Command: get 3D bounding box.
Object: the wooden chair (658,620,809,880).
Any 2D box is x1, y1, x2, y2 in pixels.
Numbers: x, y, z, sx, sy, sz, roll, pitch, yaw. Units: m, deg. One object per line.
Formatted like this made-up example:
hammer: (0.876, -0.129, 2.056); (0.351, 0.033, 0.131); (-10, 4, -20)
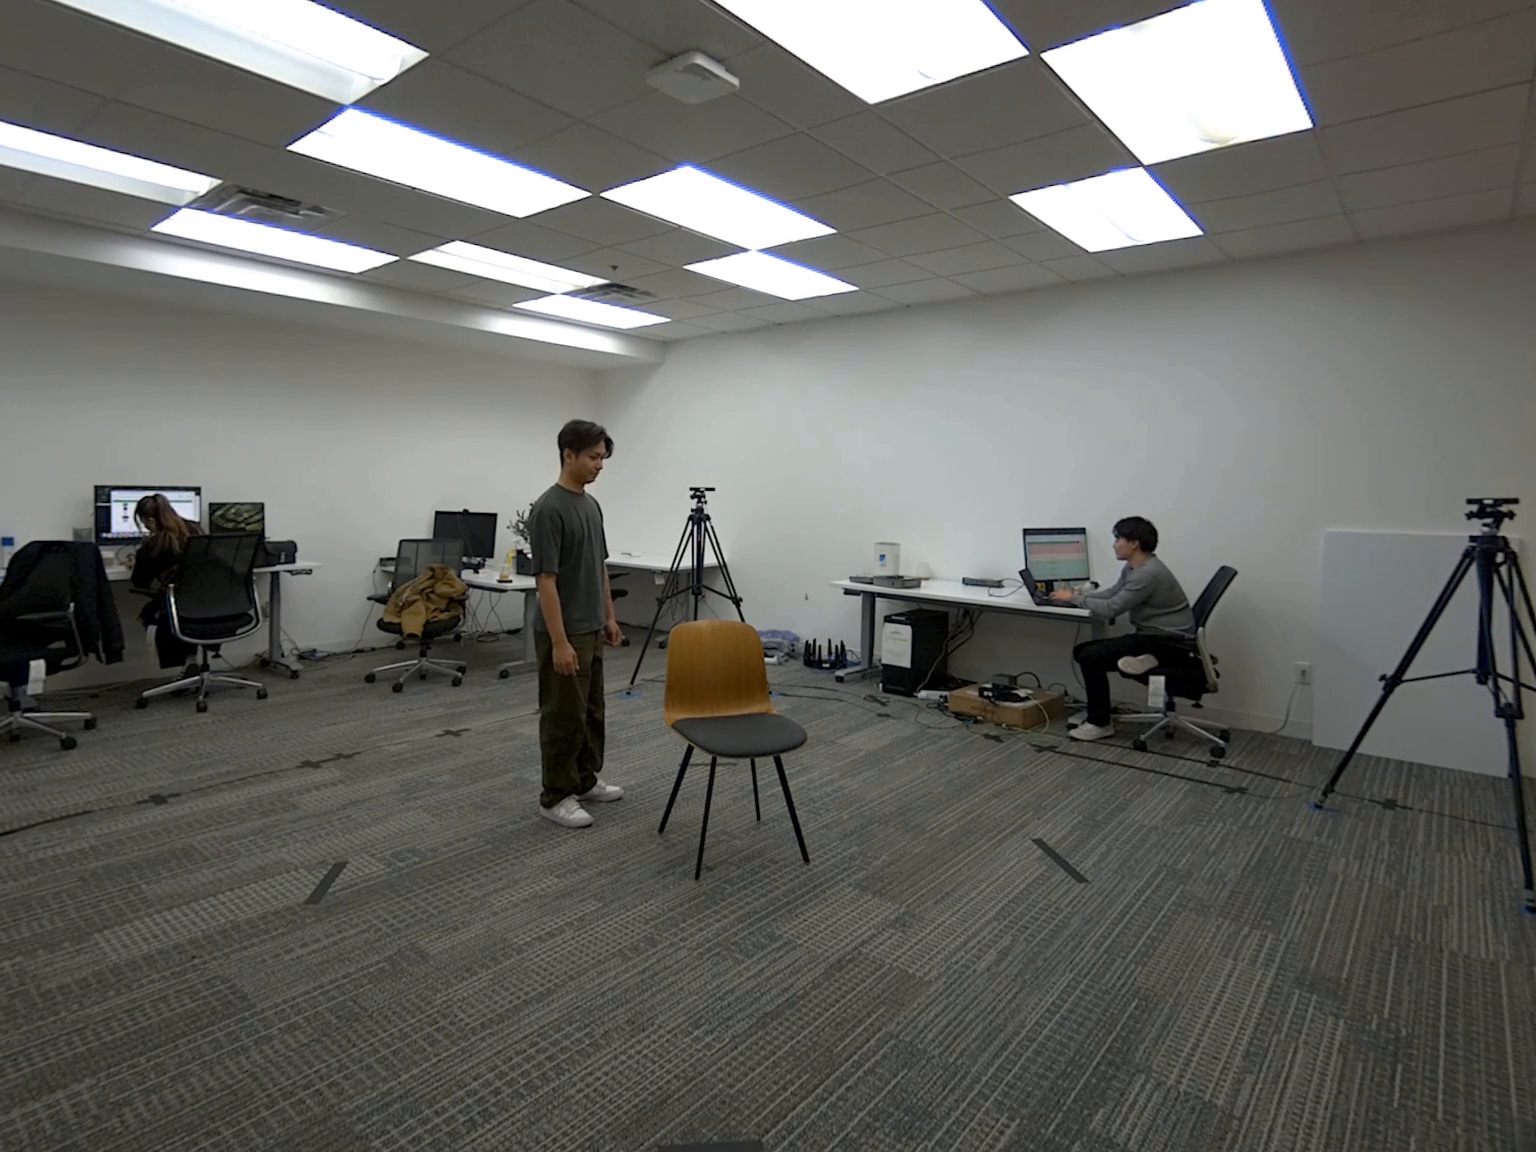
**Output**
wooden chair: (-0.142, 0.624, 3.264); (0.467, 0.878, 0.534); (0, -1, -23)
